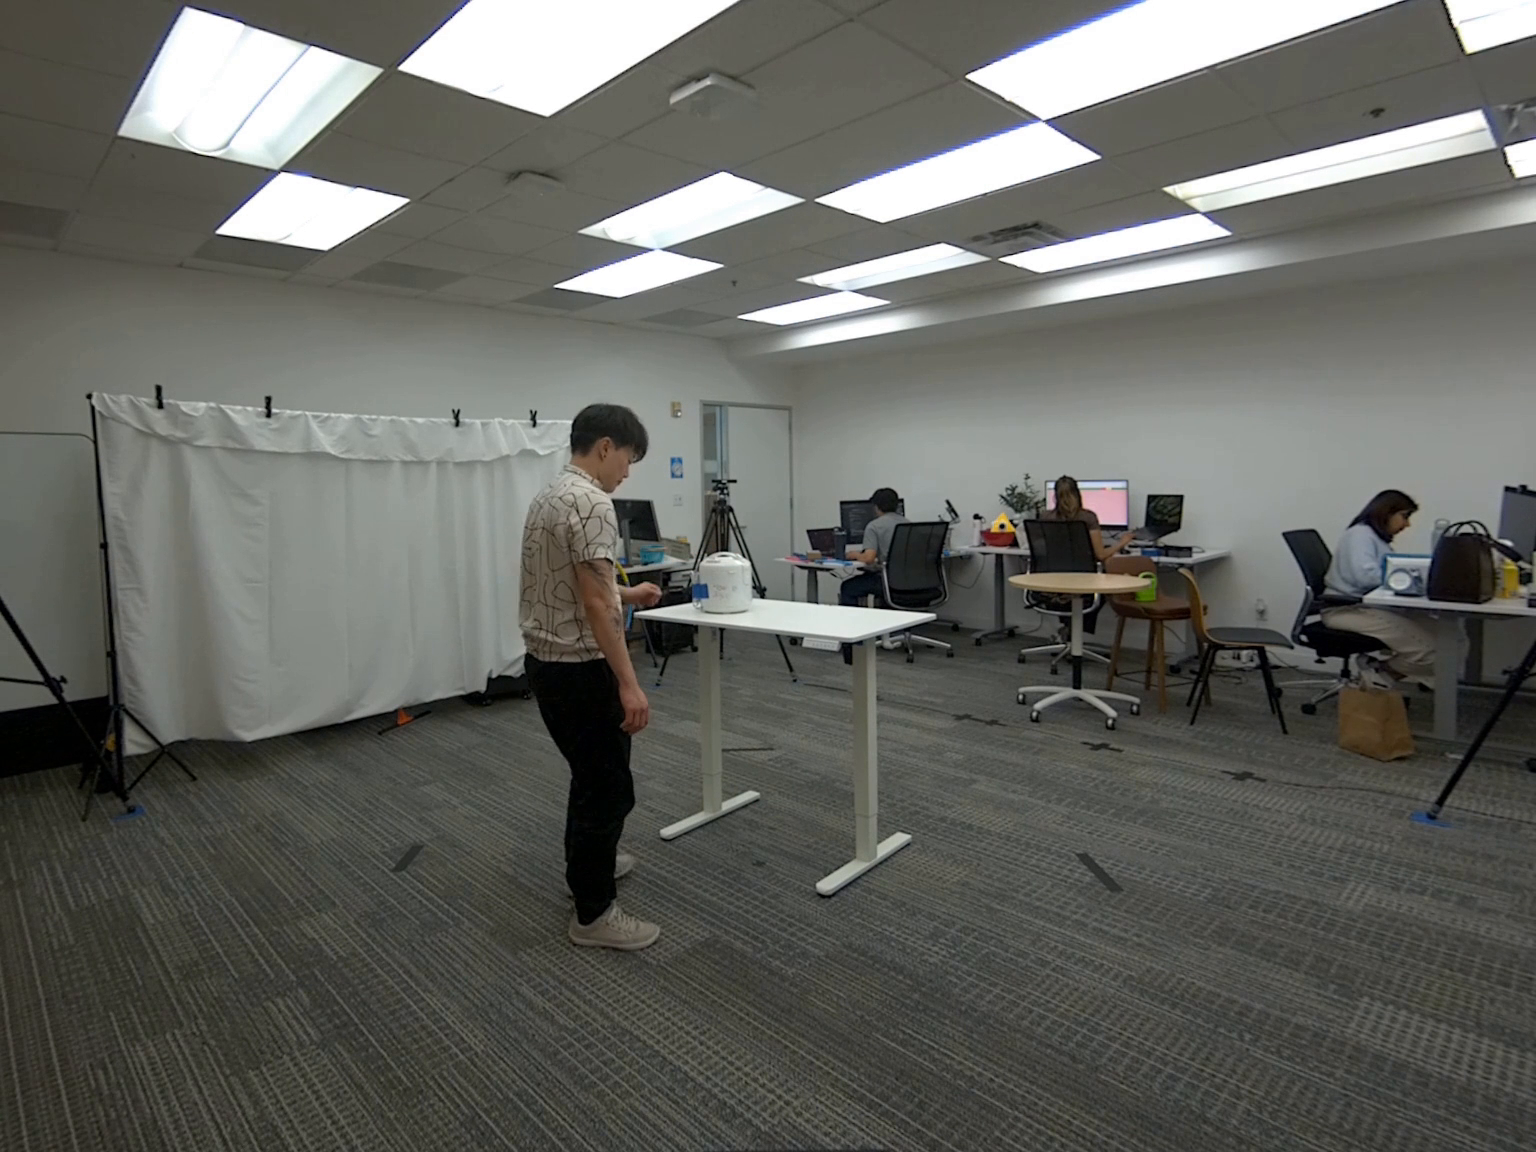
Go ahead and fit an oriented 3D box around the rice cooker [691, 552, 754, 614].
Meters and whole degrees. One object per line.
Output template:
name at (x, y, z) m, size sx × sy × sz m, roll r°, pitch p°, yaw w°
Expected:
rice cooker at (-0.168, 0.021, 3.370) m, size 0.227 × 0.232 × 0.212 m, roll 2°, pitch 7°, yaw 35°
